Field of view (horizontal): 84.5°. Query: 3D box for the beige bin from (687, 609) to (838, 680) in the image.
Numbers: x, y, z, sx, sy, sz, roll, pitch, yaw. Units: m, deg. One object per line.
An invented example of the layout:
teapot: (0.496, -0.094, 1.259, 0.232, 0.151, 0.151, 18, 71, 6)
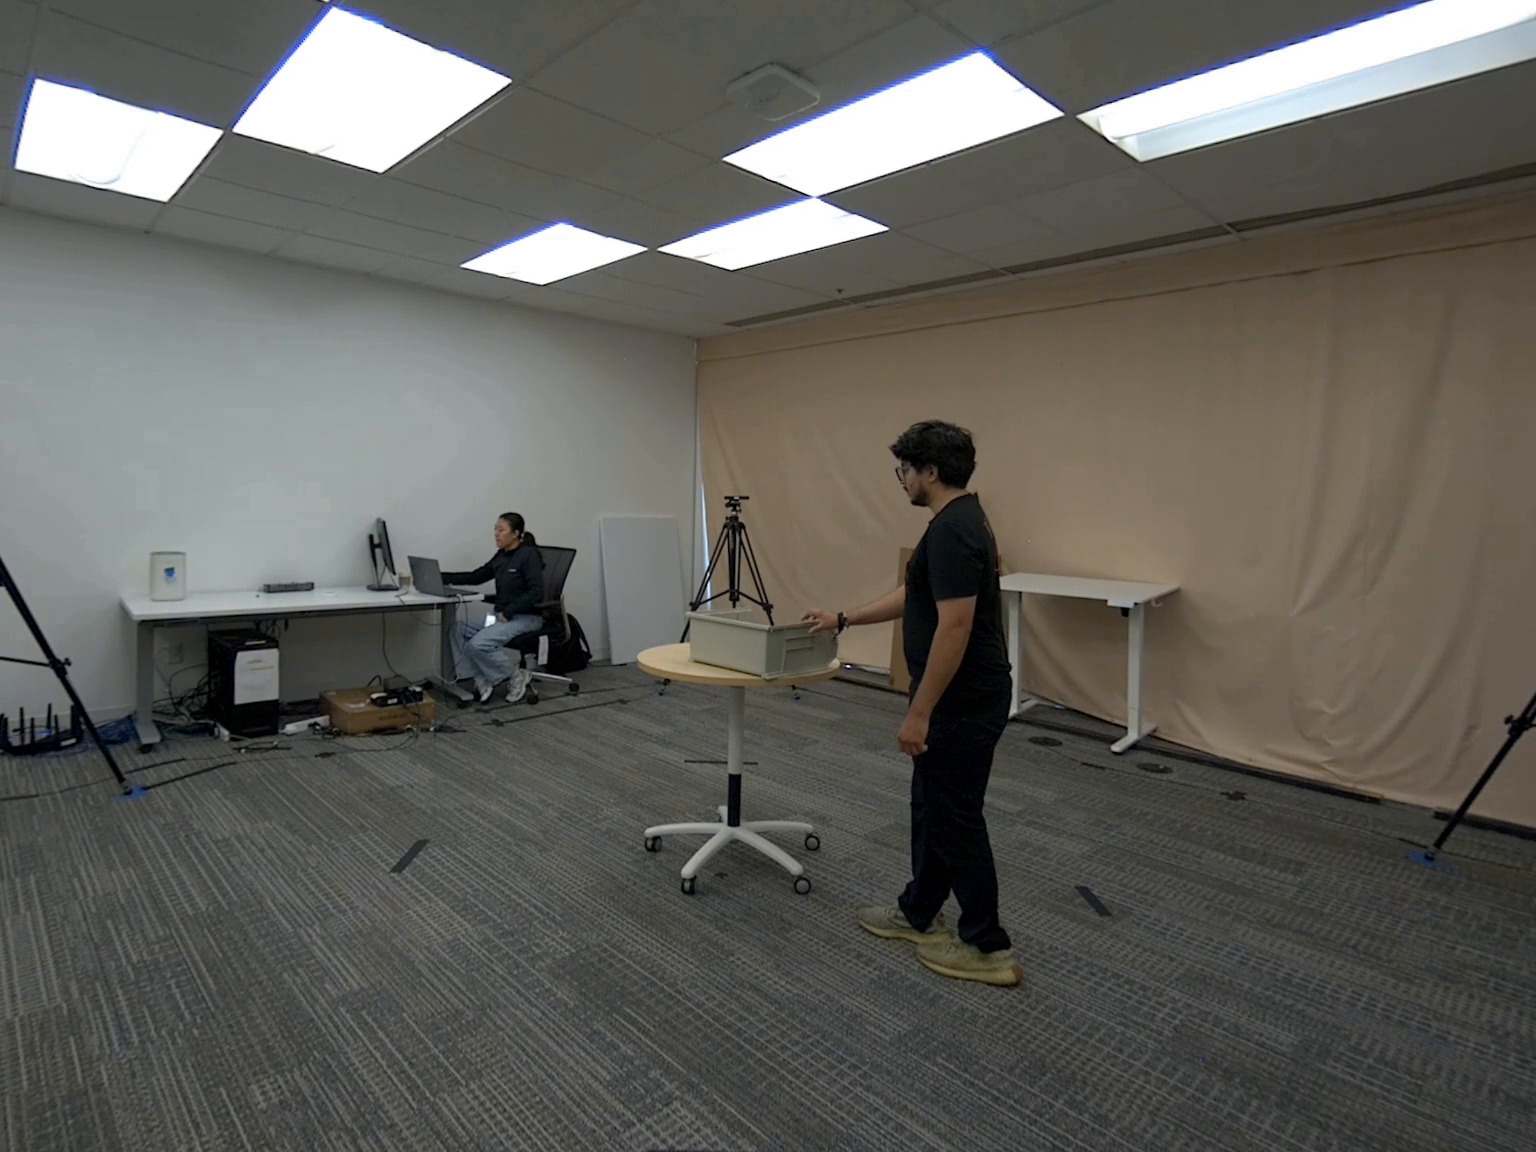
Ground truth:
beige bin: (-0.031, 0.235, 3.068, 0.369, 0.188, 0.433, -4, 8, -45)
